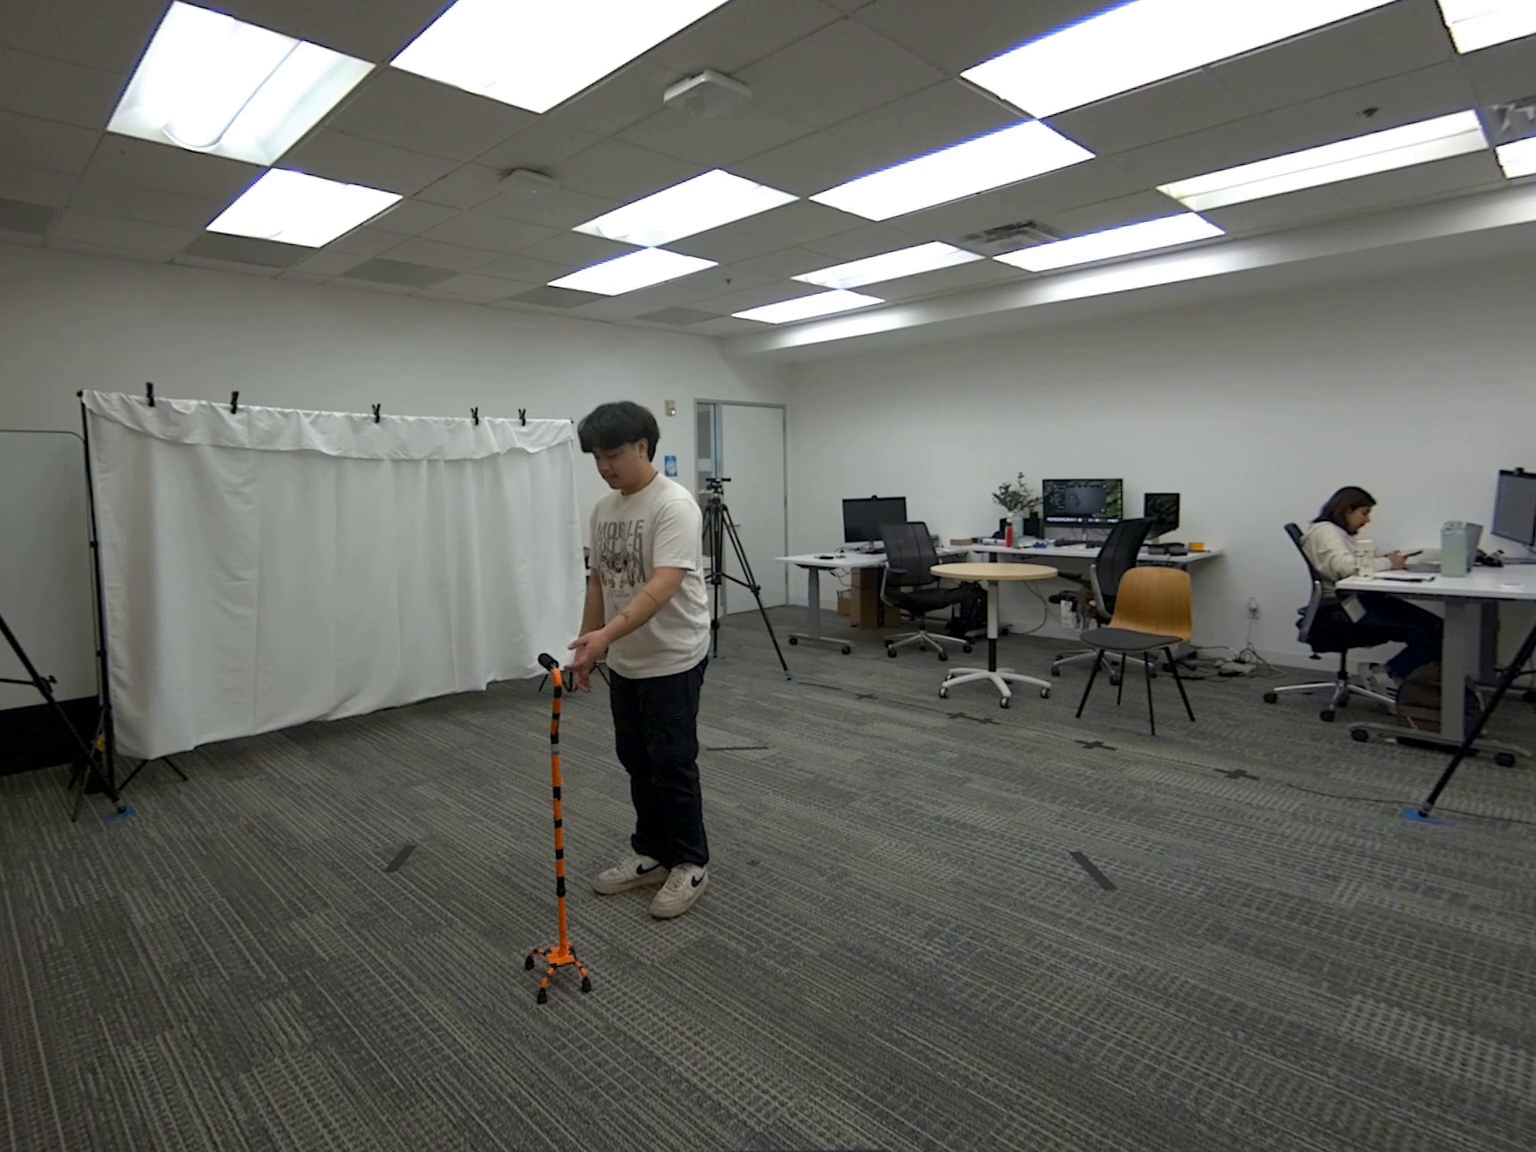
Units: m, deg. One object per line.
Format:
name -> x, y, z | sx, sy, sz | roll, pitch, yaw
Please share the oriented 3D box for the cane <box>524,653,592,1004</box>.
cane -> -0.601, 0.694, 2.372 | 0.148, 0.901, 0.212 | -4, 8, -24
